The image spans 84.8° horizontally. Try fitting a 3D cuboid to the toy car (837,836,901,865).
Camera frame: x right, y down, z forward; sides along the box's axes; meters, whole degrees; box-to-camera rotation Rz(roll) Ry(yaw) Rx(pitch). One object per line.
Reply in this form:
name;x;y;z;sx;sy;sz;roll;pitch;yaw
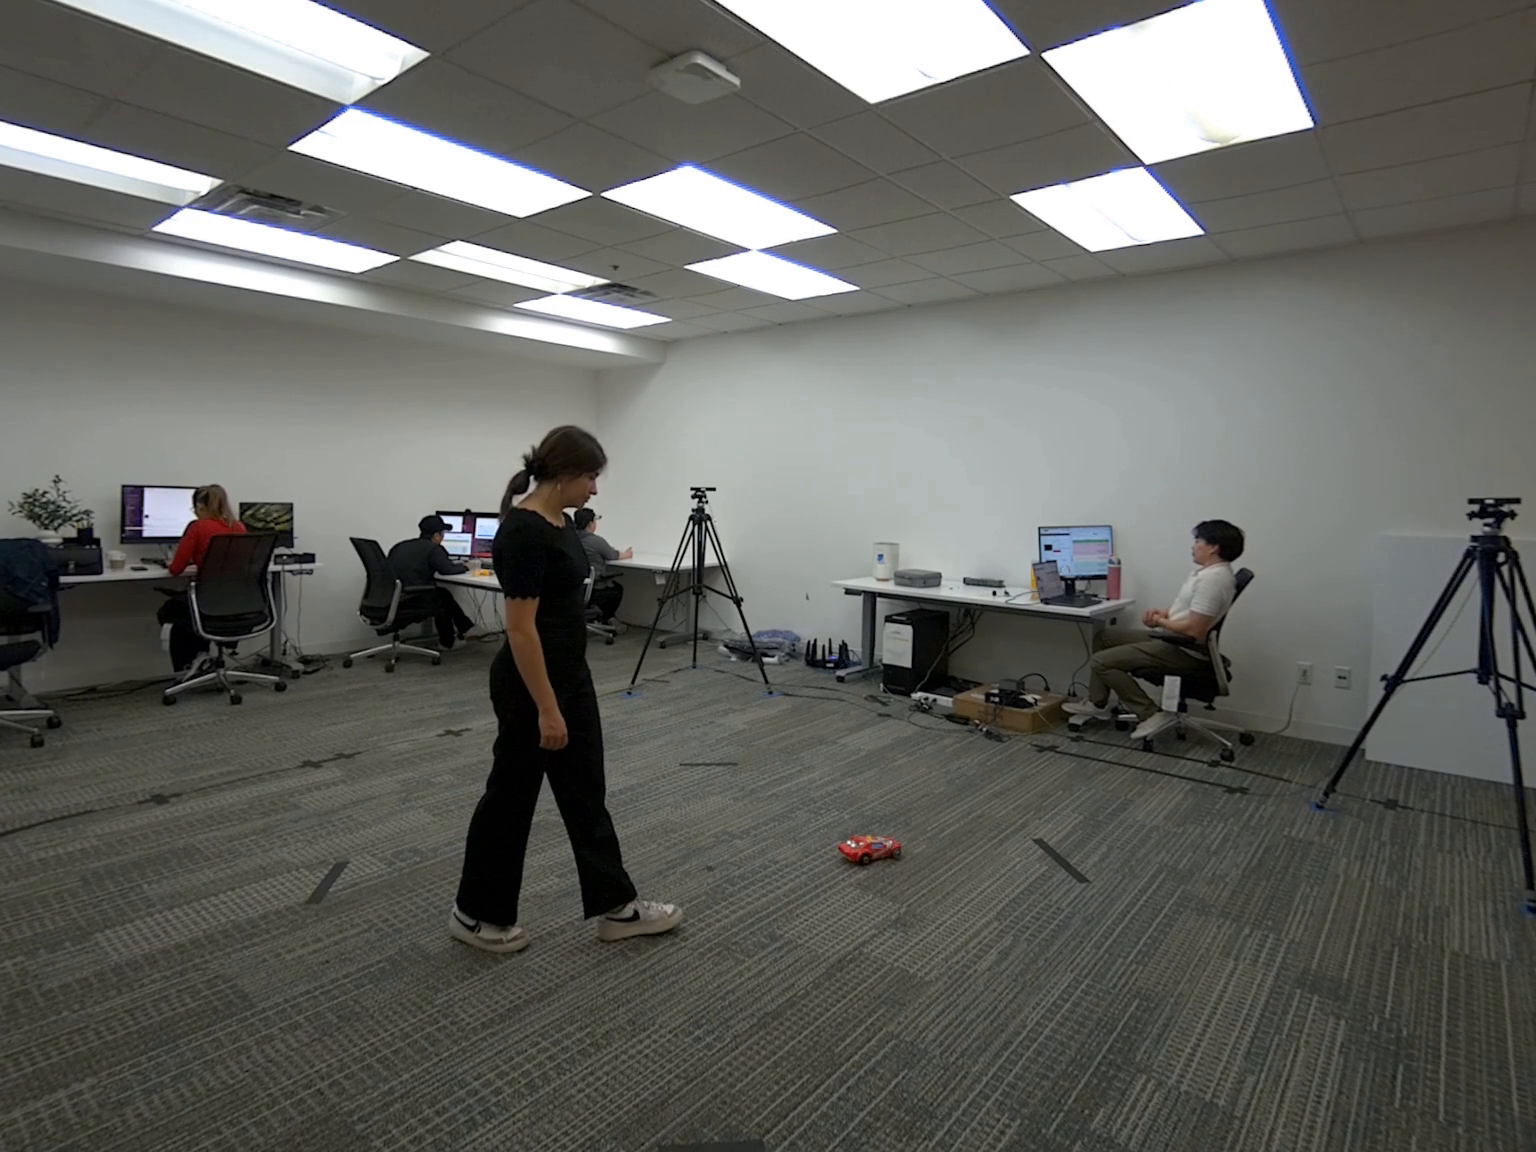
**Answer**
toy car;0.377;1.036;3.232;0.247;0.083;0.134;10;1;-26
